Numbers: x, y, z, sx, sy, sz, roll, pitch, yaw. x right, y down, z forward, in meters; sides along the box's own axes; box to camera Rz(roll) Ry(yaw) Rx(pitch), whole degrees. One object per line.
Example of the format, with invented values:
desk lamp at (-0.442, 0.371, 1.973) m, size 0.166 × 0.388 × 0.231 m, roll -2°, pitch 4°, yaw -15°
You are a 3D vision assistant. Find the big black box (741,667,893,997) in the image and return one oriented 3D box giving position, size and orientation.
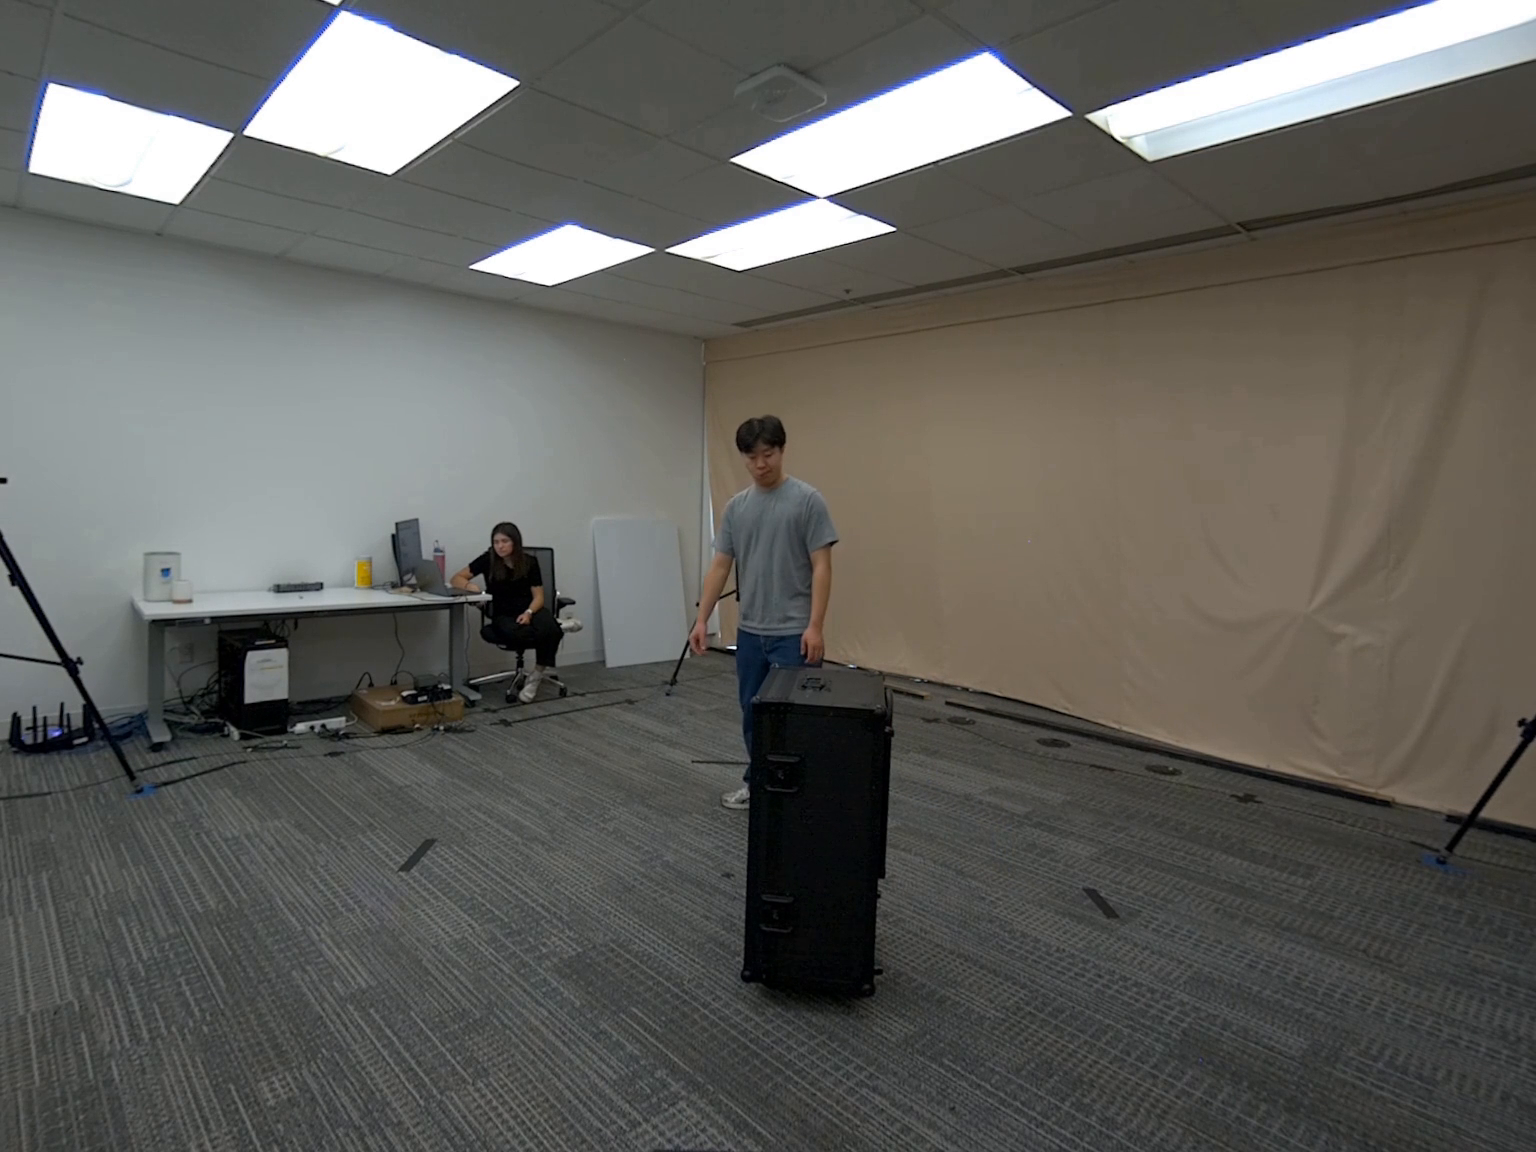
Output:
big black box at (0.150, 0.743, 2.489) m, size 0.399 × 0.859 × 0.519 m, roll 3°, pitch 4°, yaw 8°
